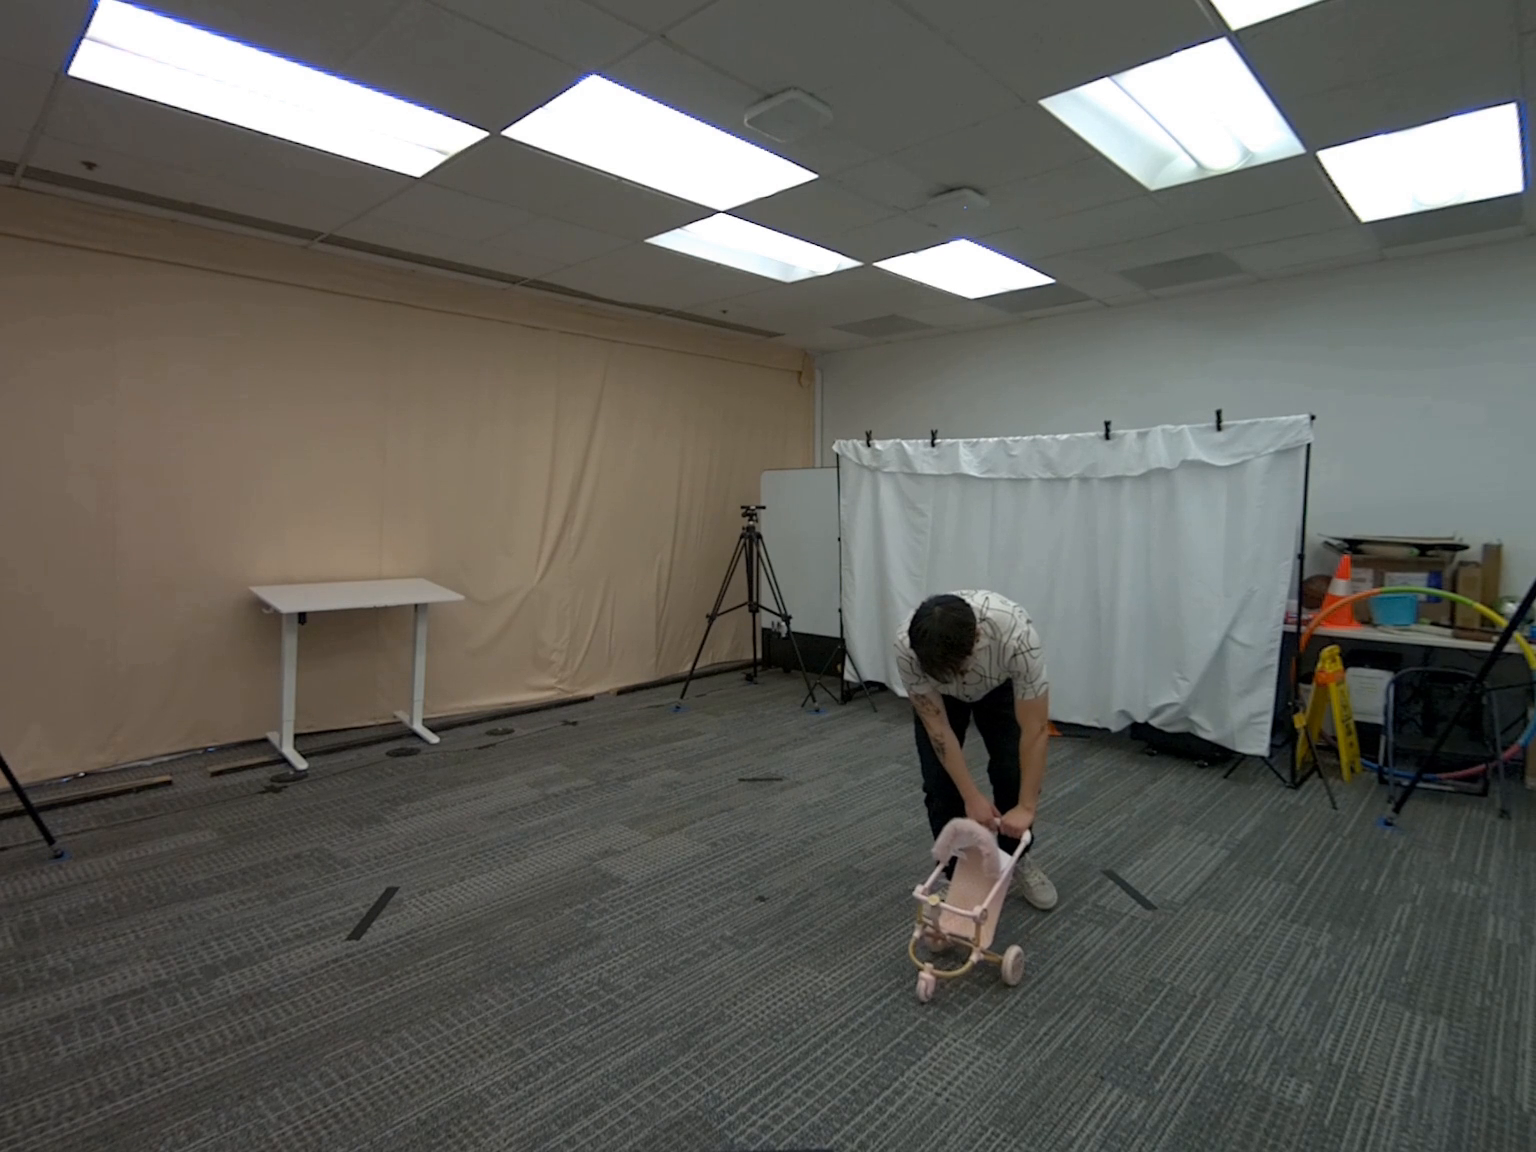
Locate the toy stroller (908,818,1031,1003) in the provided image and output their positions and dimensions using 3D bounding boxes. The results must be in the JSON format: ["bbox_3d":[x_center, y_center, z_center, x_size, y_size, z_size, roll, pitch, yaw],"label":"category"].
[{"bbox_3d":[0.586,0.961,2.494,0.329,0.537,0.290,21,-12,-39],"label":"toy stroller"}]
